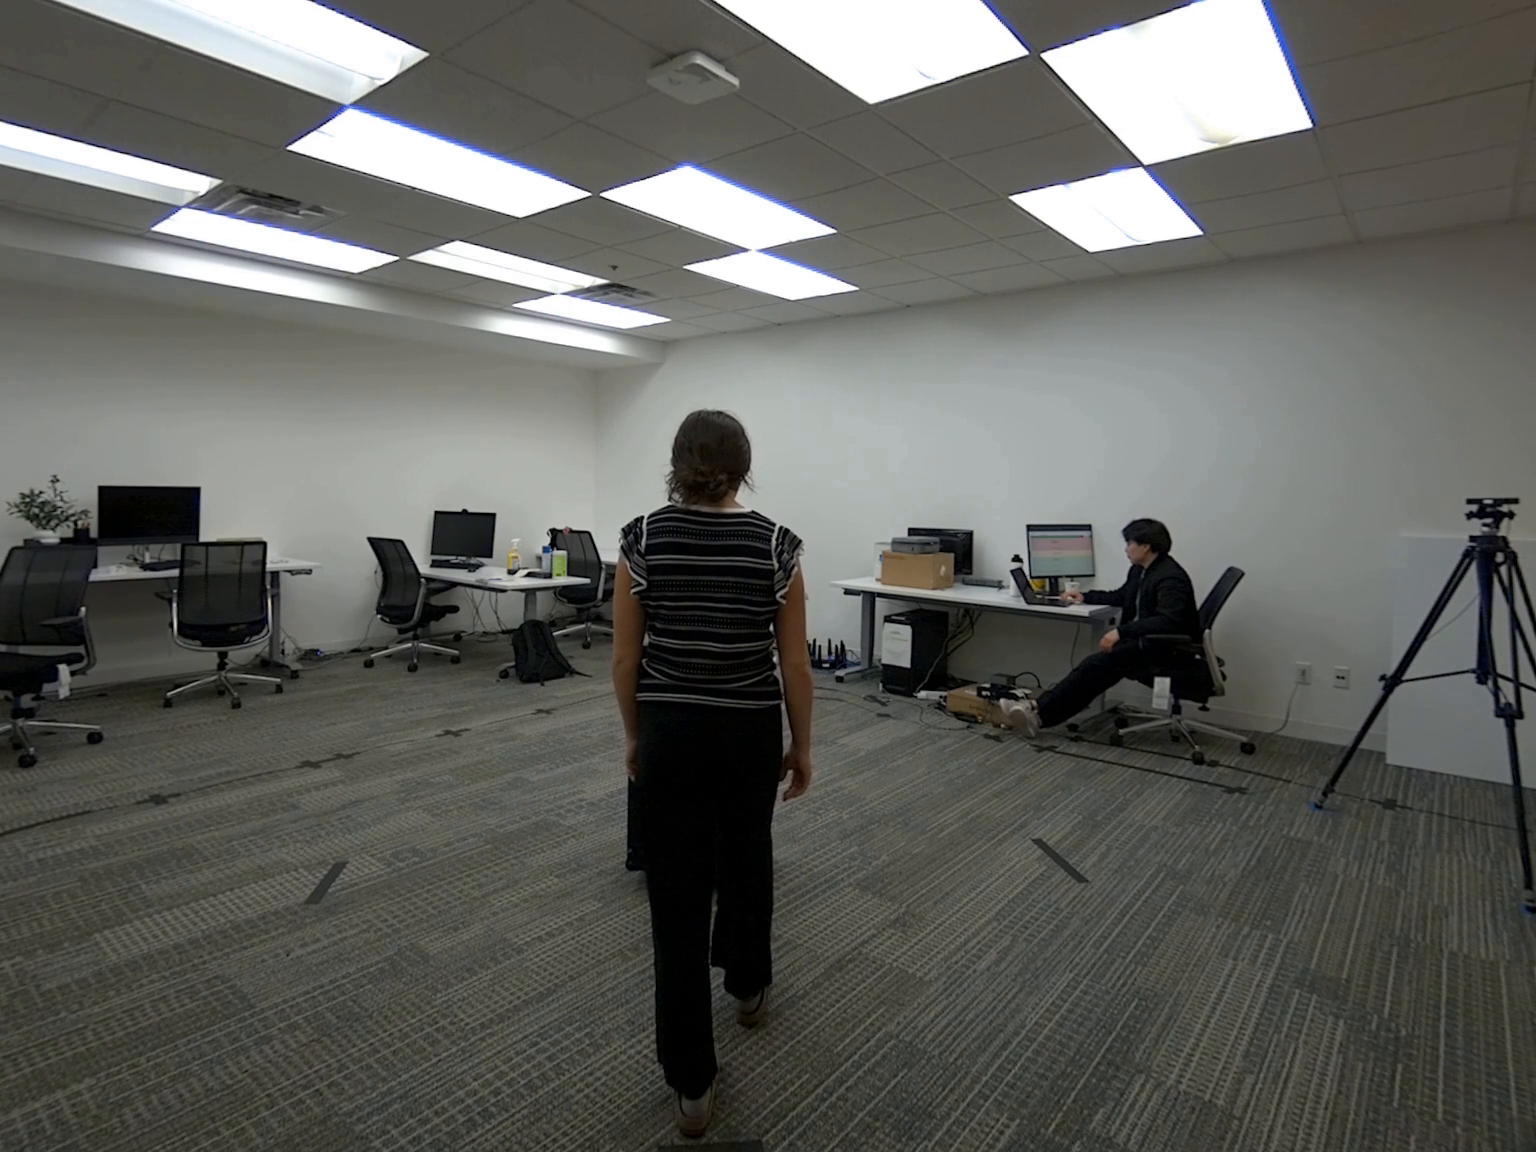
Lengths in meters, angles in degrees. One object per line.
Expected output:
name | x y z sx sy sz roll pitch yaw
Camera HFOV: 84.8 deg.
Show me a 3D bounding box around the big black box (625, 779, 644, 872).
big black box | -0.239 0.641 3.045 0.524 0.859 0.396 2 3 3
